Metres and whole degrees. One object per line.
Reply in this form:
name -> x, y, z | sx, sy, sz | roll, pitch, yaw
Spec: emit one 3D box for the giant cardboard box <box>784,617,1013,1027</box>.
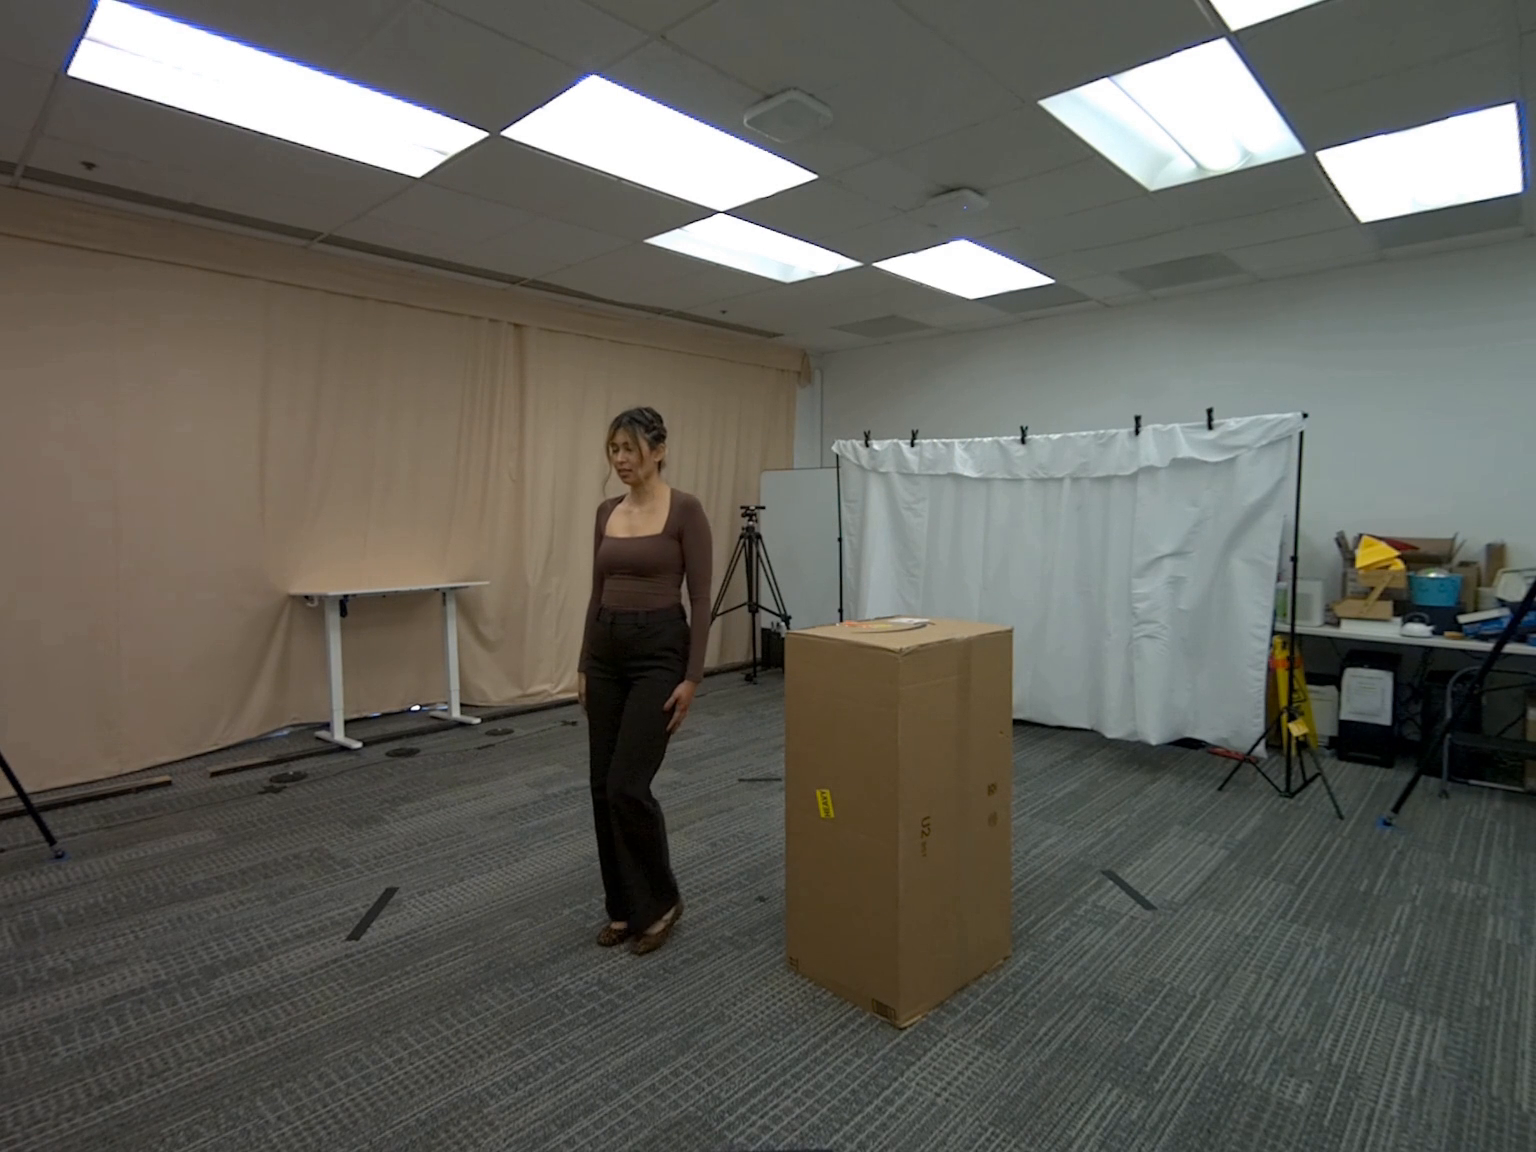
giant cardboard box -> 0.405, 0.668, 2.552 | 0.566, 1.025, 0.461 | -3, 3, -41
